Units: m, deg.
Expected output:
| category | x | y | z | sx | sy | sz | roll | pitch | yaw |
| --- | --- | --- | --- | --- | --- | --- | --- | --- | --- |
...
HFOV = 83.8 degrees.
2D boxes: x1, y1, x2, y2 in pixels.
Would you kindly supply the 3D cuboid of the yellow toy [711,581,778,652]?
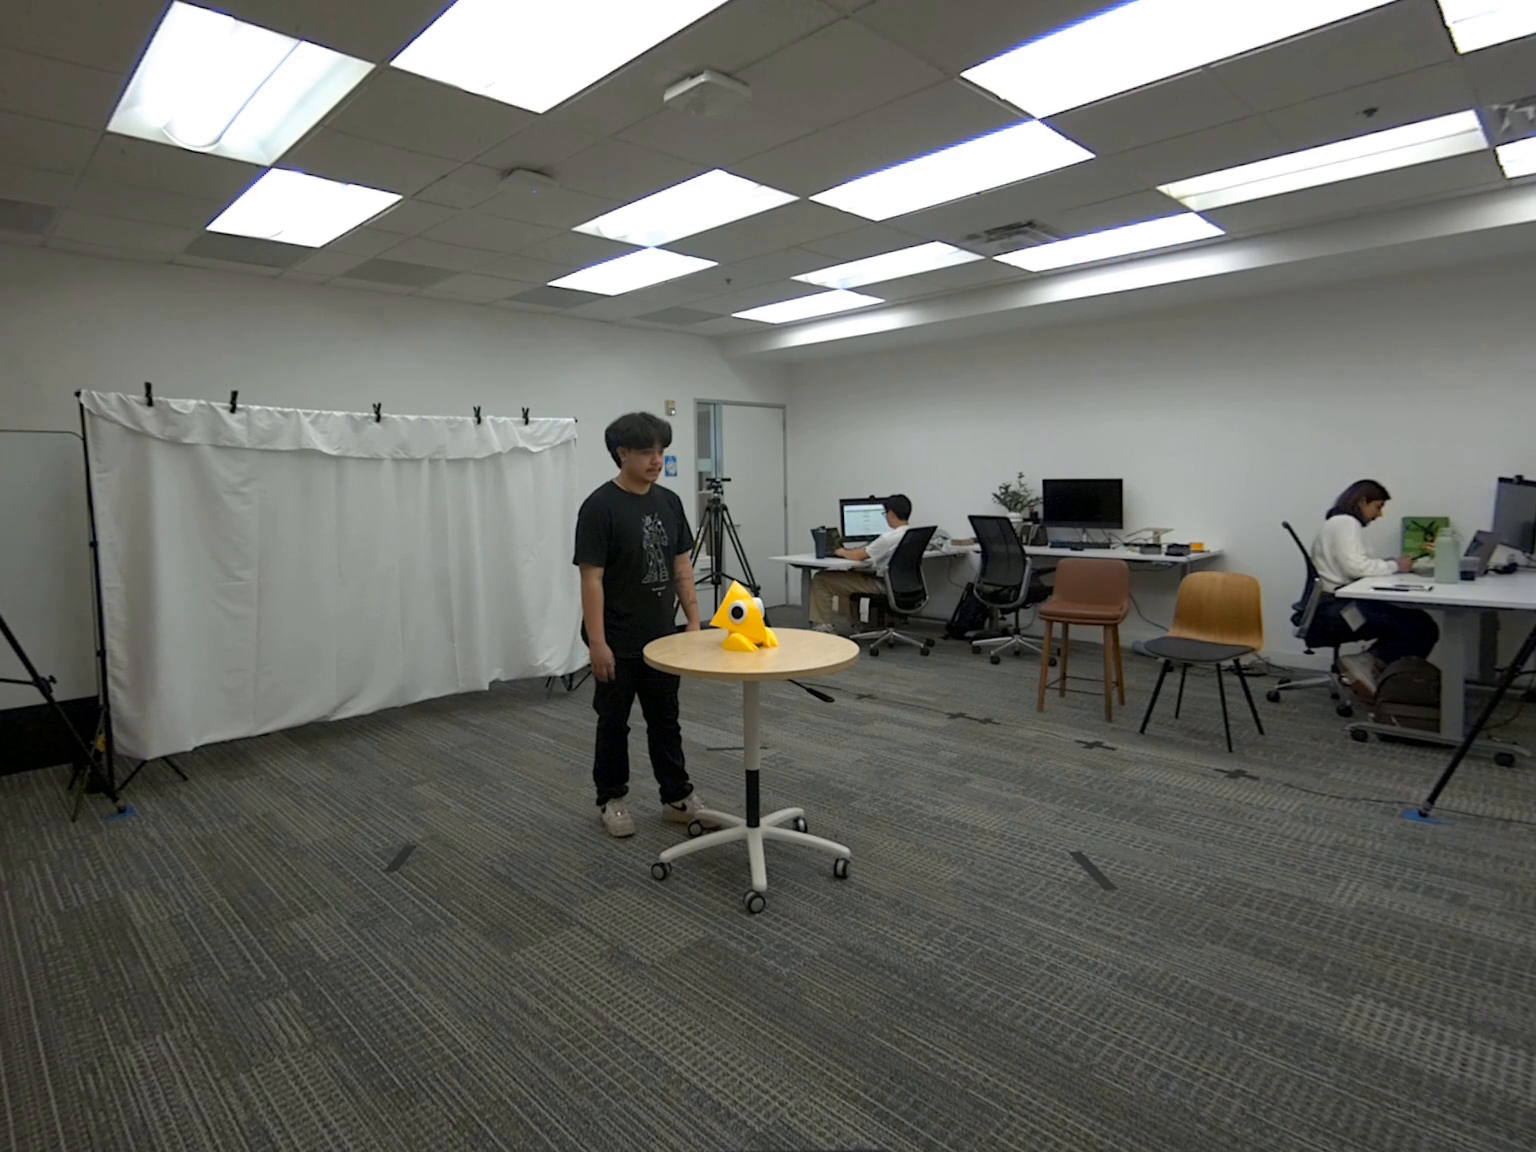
| category | x | y | z | sx | sy | sz | roll | pitch | yaw |
| --- | --- | --- | --- | --- | --- | --- | --- | --- | --- |
| yellow toy | -0.070 | 0.136 | 3.073 | 0.199 | 0.230 | 0.199 | 5 | 7 | 43 |
